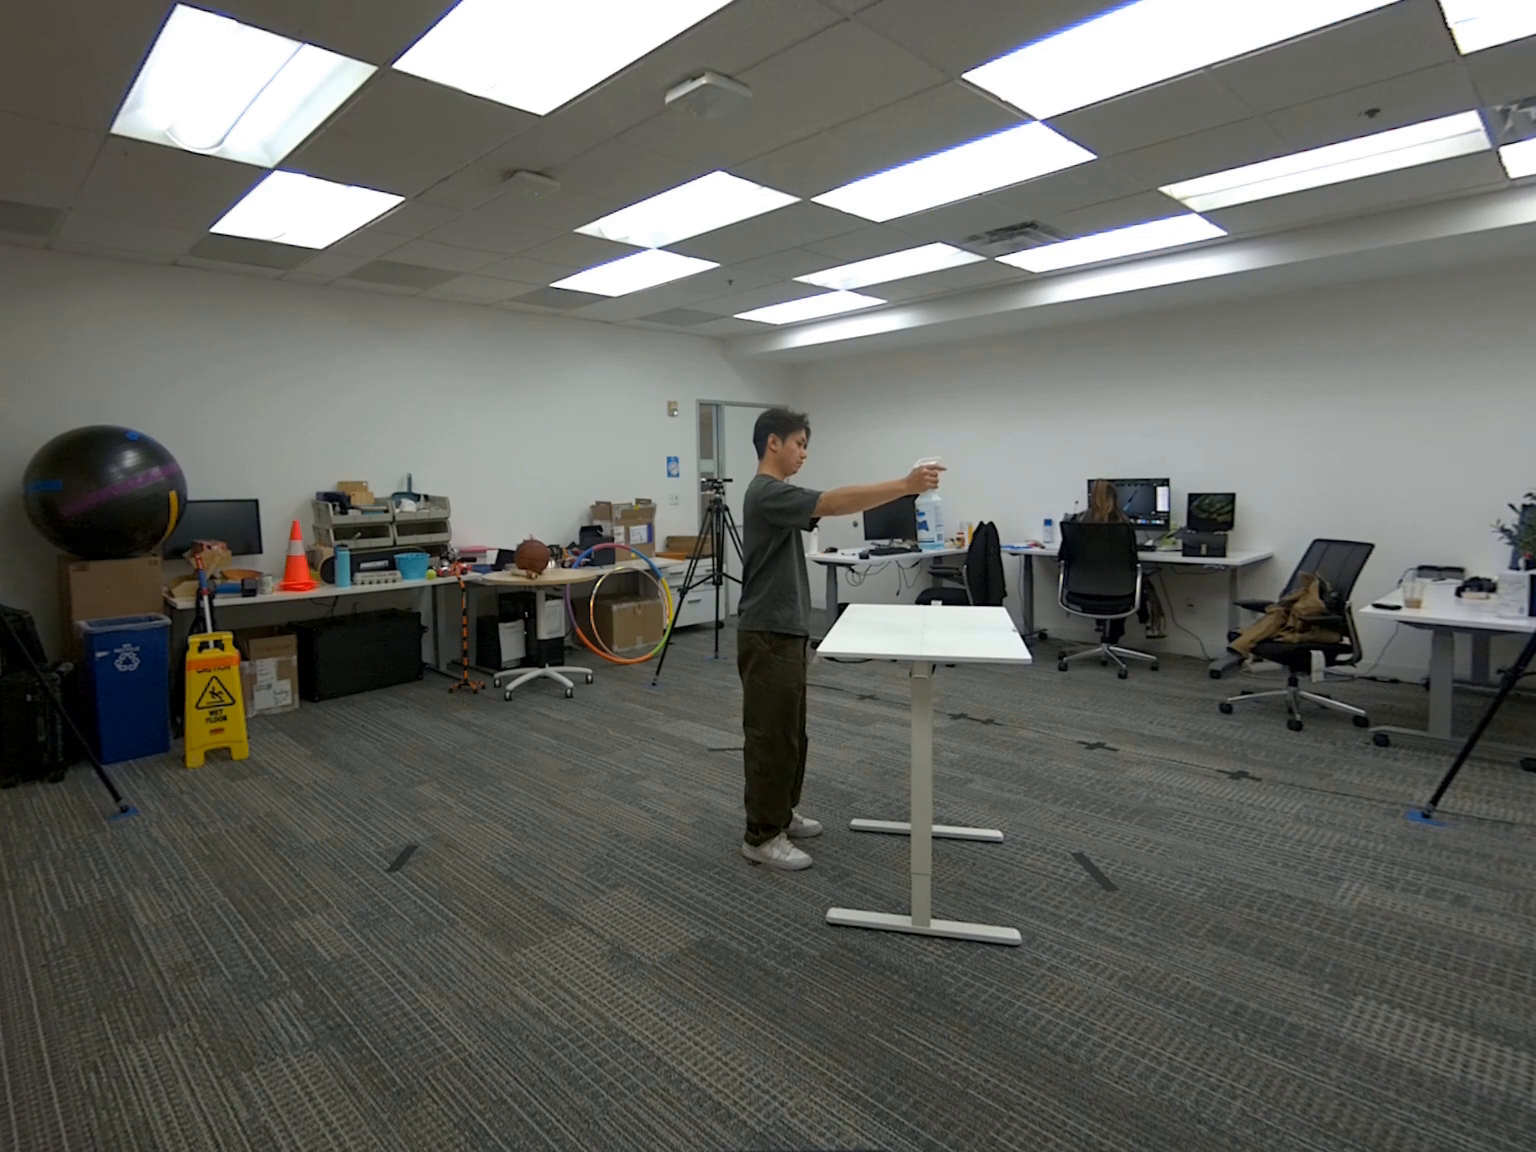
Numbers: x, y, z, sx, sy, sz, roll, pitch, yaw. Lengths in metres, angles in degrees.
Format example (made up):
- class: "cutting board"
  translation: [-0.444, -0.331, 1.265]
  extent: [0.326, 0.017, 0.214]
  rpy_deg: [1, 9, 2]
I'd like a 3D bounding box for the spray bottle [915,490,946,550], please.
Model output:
- class: "spray bottle"
  translation: [0.540, -0.238, 2.805]
  extent: [0.092, 0.297, 0.085]
  rpy_deg: [-4, 2, 30]
